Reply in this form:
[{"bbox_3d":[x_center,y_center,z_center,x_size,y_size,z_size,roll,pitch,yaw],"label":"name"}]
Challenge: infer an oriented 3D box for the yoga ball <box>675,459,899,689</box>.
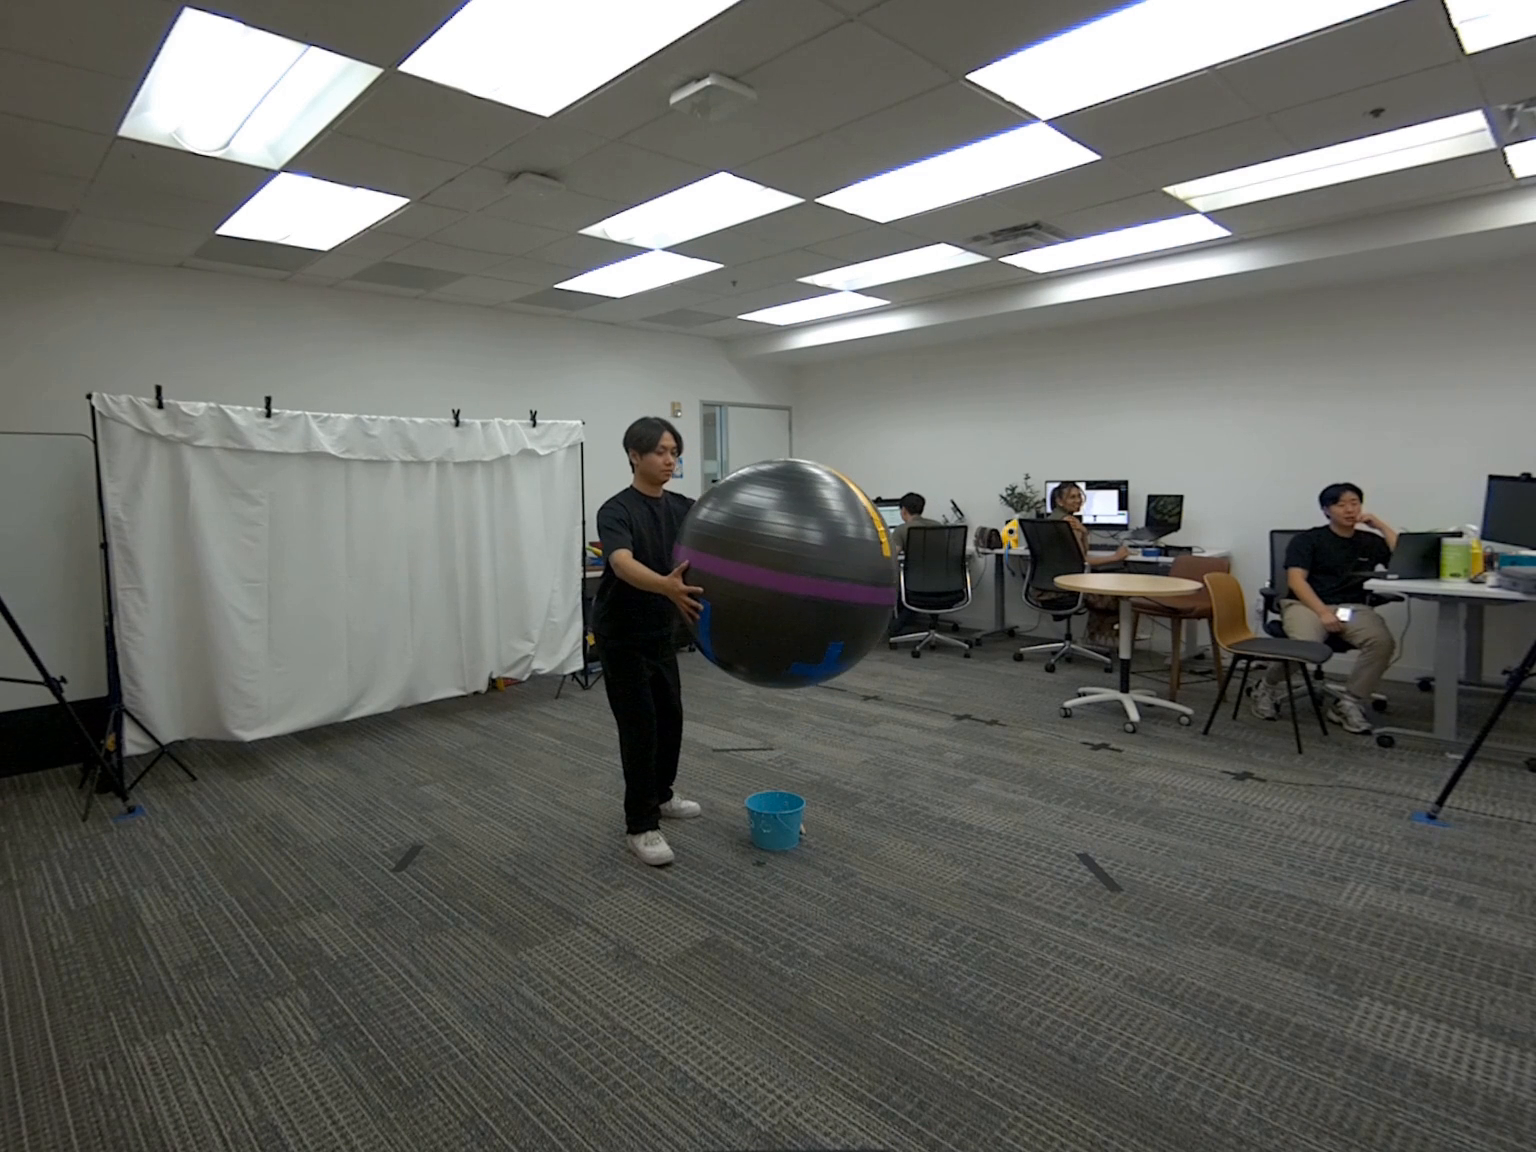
[{"bbox_3d":[0.061,0.001,2.854,0.757,0.755,0.762,-1,5,-2],"label":"yoga ball"}]
